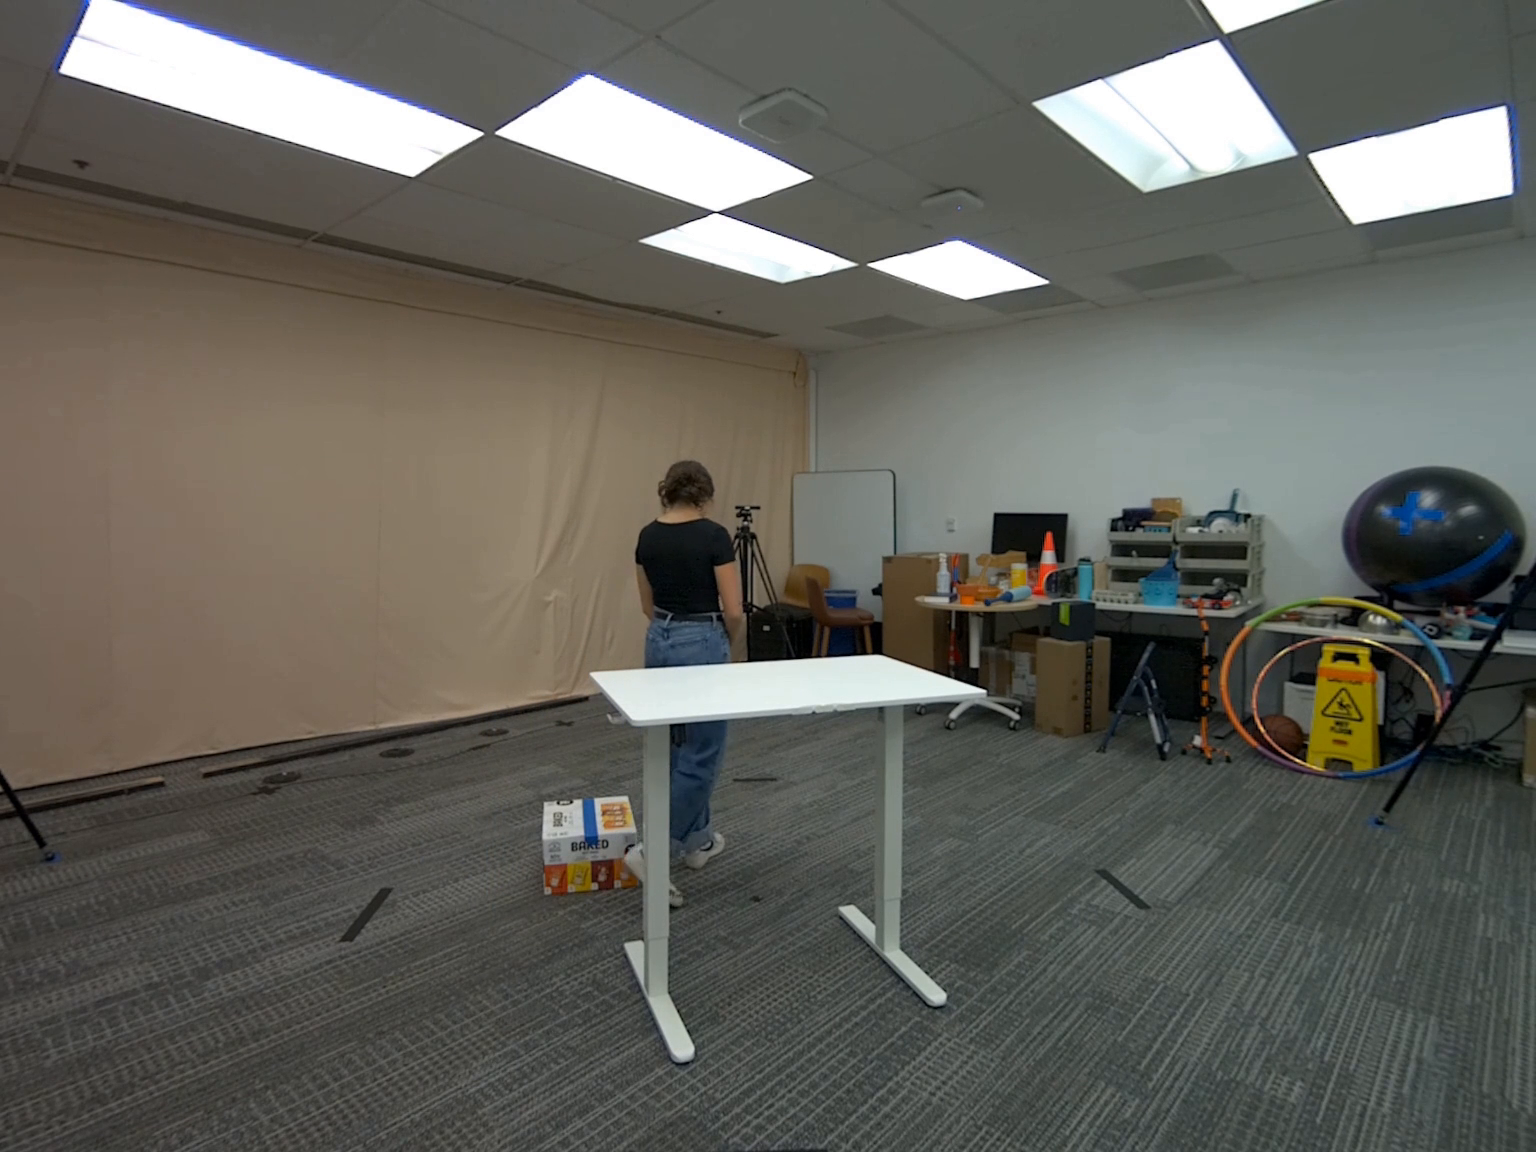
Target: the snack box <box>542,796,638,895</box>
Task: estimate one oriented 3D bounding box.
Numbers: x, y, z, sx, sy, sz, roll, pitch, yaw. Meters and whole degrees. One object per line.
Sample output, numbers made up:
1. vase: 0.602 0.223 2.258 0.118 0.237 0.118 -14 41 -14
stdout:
1. snack box: -0.695 1.029 3.247 0.336 0.205 0.411 -1 4 -13
